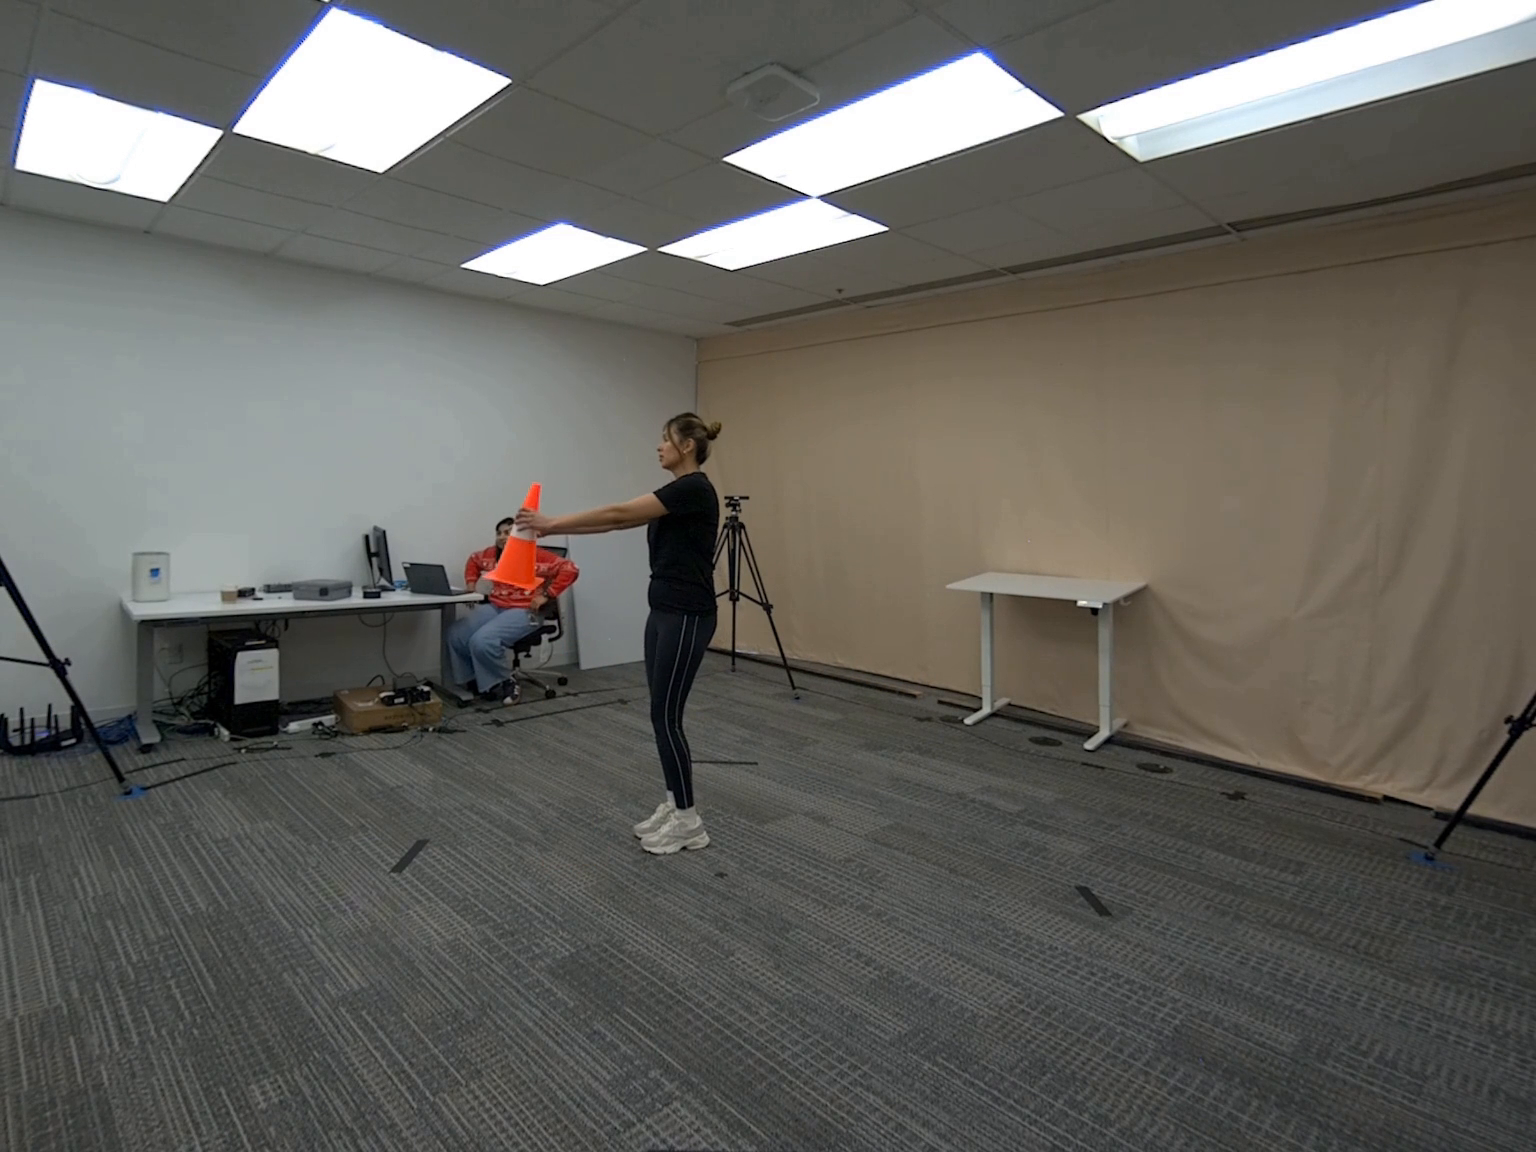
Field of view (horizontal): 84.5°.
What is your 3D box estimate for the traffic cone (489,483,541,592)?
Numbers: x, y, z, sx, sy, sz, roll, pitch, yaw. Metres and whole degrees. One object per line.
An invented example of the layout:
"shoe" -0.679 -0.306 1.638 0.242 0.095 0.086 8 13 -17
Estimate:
"traffic cone" -0.949 -0.158 3.236 0.198 0.383 0.211 10 6 -44
